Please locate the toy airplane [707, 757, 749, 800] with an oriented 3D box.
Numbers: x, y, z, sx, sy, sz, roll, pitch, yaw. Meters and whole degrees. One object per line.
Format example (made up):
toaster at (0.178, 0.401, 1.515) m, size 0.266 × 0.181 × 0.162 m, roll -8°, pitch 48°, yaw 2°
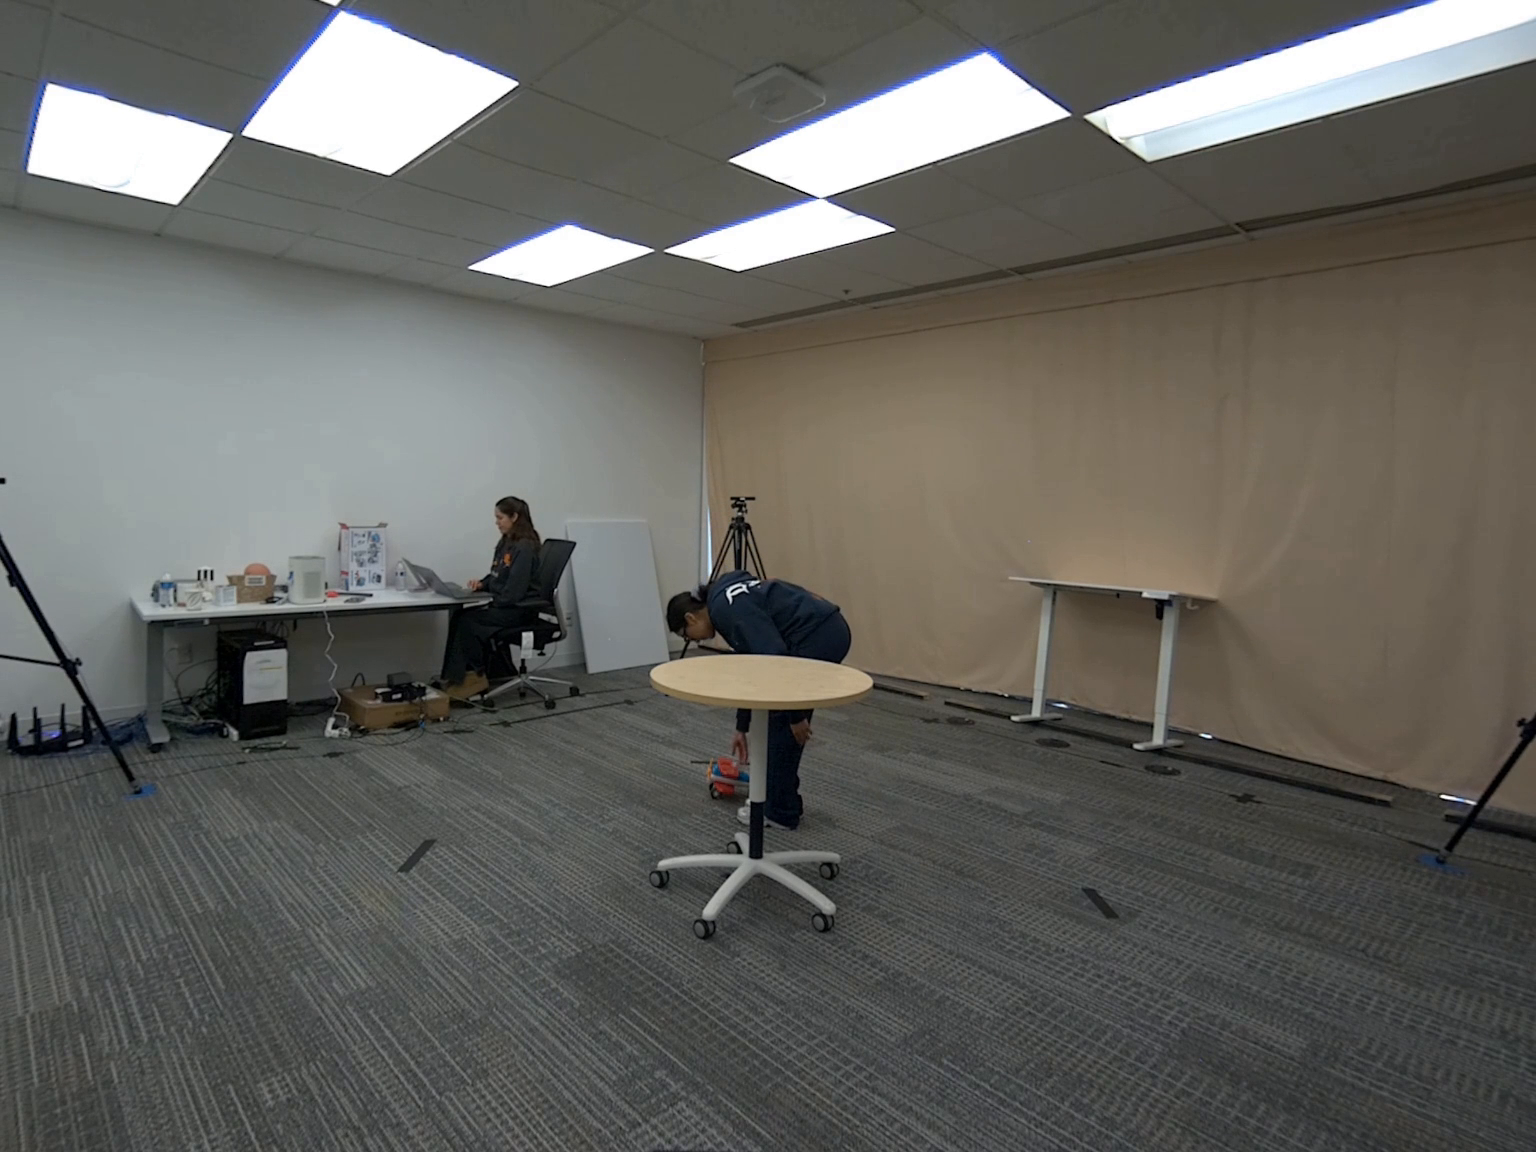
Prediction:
toy airplane at (-0.180, 0.958, 3.981) m, size 0.253 × 0.156 × 0.257 m, roll -1°, pitch 5°, yaw -35°
